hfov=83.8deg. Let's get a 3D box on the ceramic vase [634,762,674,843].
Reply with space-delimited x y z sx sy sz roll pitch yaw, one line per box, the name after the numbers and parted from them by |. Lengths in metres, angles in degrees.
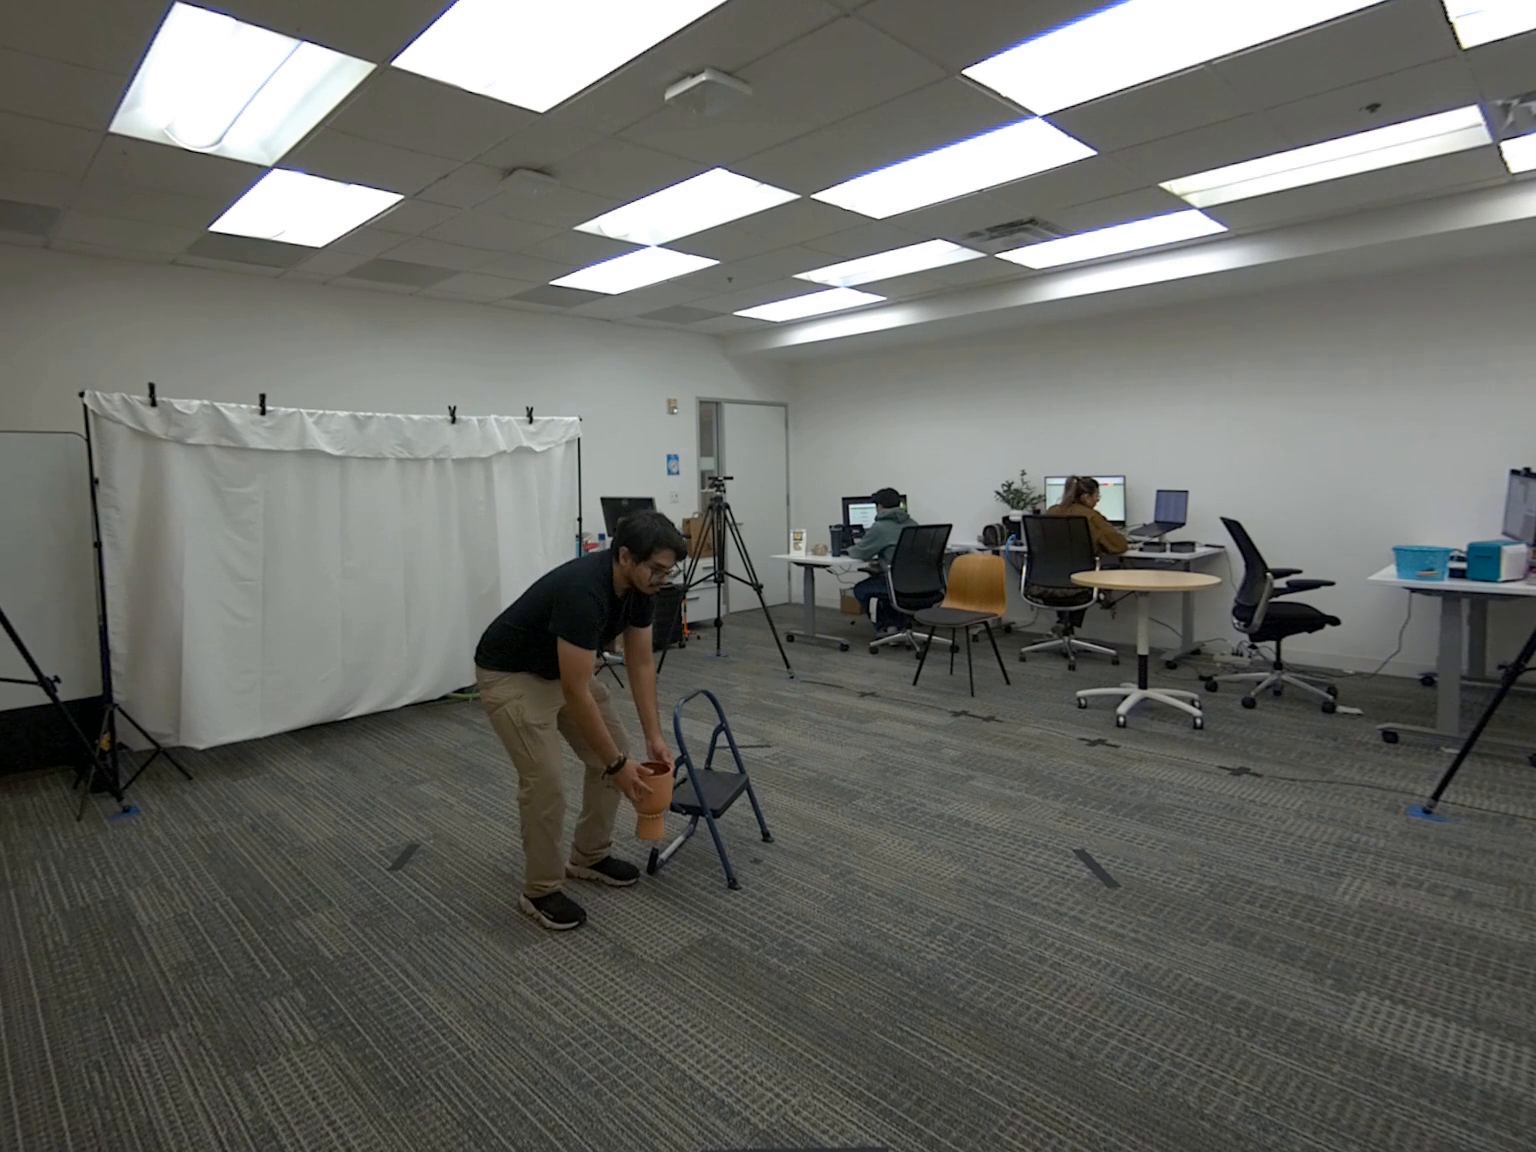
-0.380 0.726 2.751 0.155 0.219 0.138 0 7 -26 | ceramic vase
